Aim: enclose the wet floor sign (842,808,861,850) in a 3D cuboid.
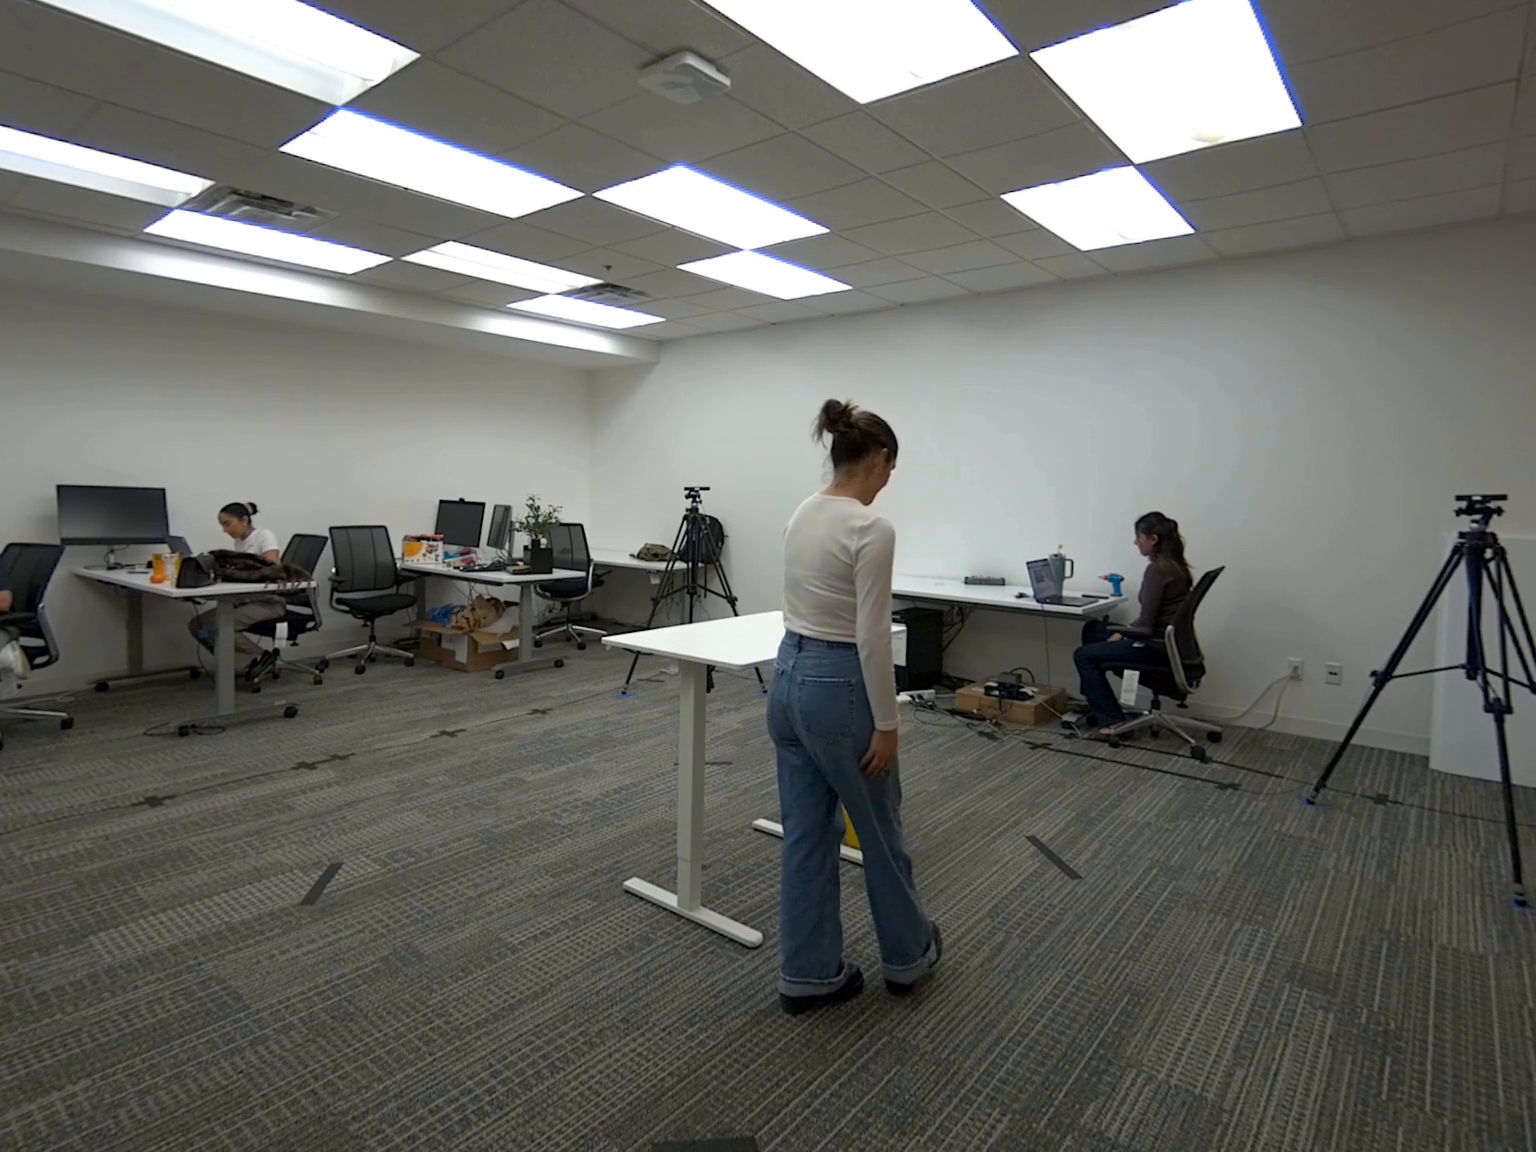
[{"bbox_3d":[0.322,0.711,3.474,0.291,0.644,0.282,4,4,30],"label":"wet floor sign"}]
